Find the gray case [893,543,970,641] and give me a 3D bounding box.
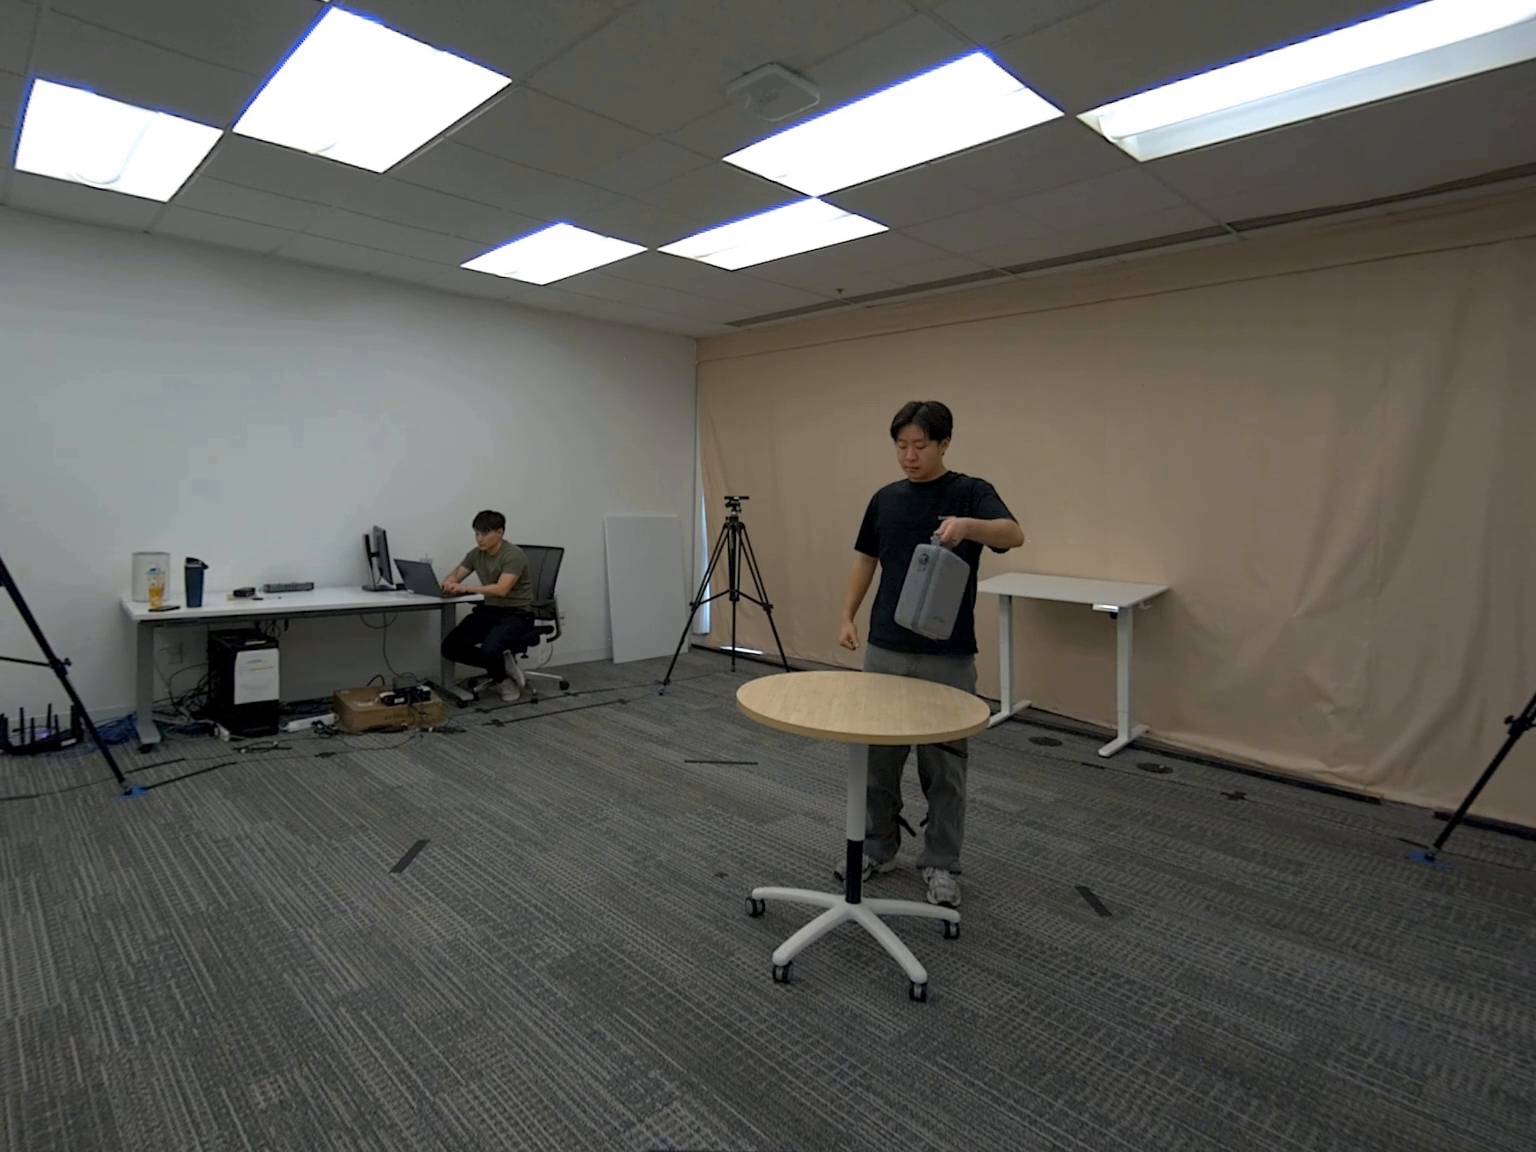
[{"bbox_3d":[0.489,0.045,2.516,0.106,0.288,0.256,11,-5,32],"label":"gray case"}]
